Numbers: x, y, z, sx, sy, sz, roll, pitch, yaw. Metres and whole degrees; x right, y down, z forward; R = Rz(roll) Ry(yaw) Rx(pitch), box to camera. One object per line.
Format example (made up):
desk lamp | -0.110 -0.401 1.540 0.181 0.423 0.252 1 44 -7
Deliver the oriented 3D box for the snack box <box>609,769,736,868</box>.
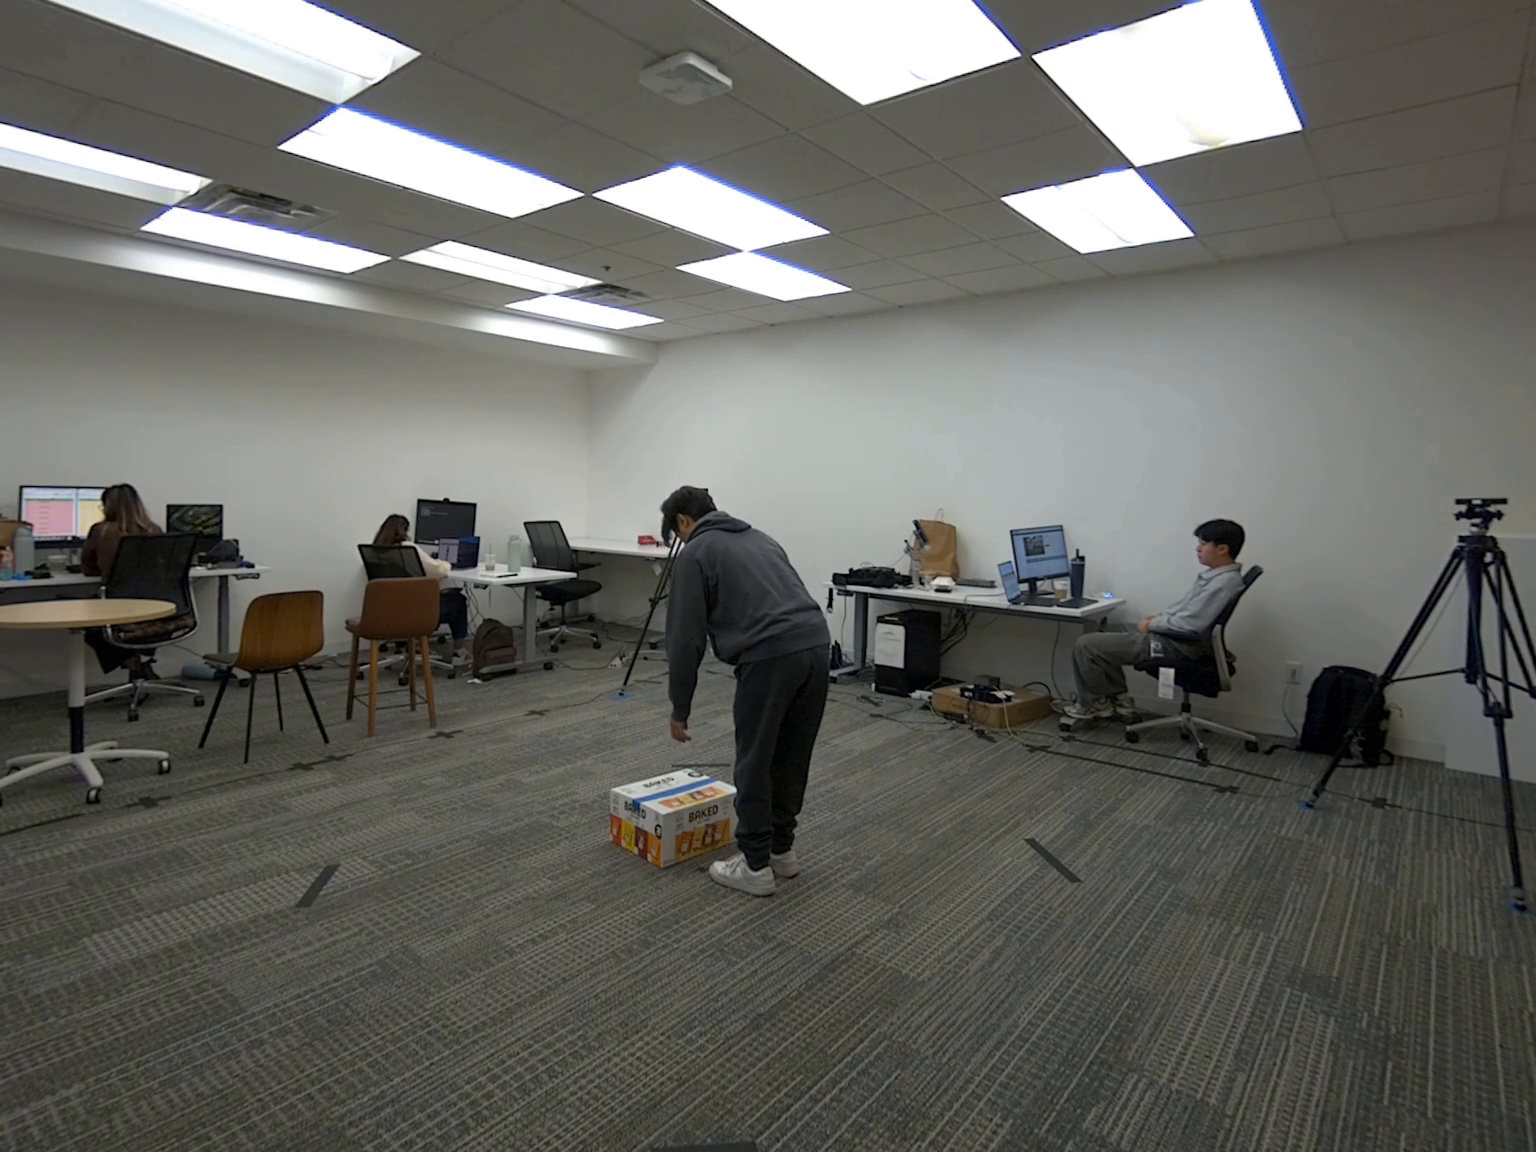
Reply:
snack box | -0.374 0.942 3.358 0.393 0.205 0.352 -4 7 -43
